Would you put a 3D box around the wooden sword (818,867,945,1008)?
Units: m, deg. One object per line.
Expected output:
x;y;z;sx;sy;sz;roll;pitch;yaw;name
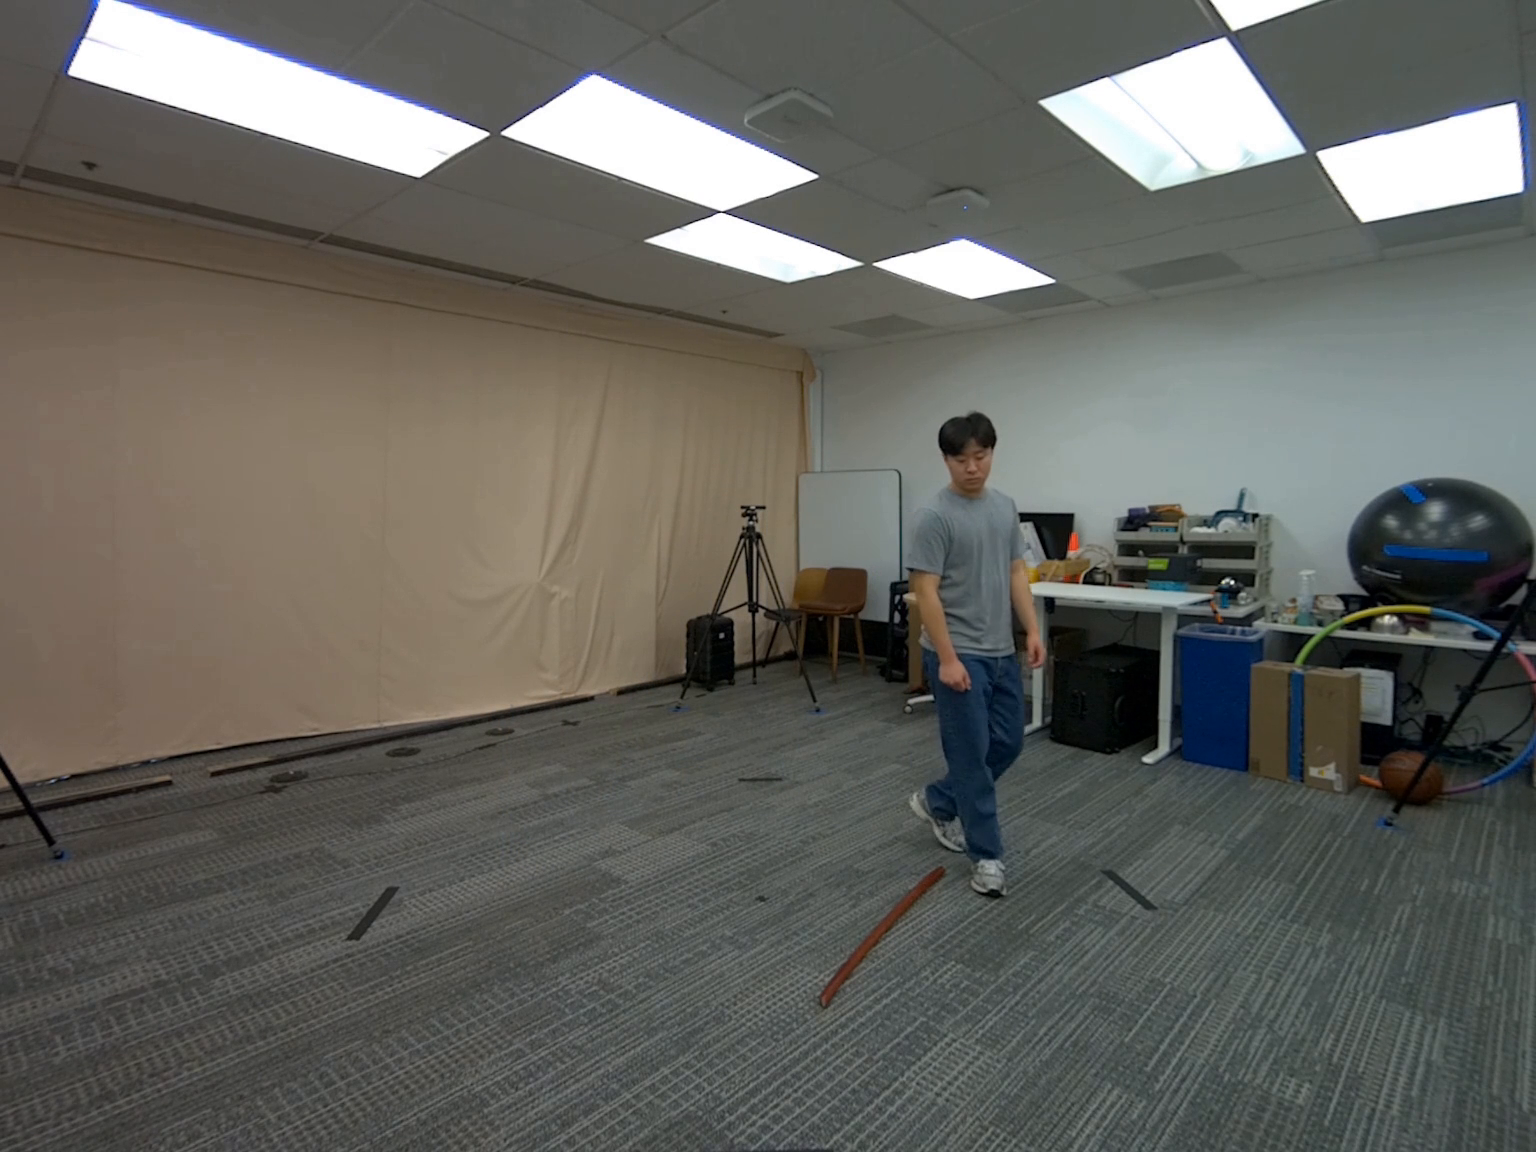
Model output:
0.392;1.140;2.766;0.052;0.024;0.997;-15;-3;31;wooden sword
